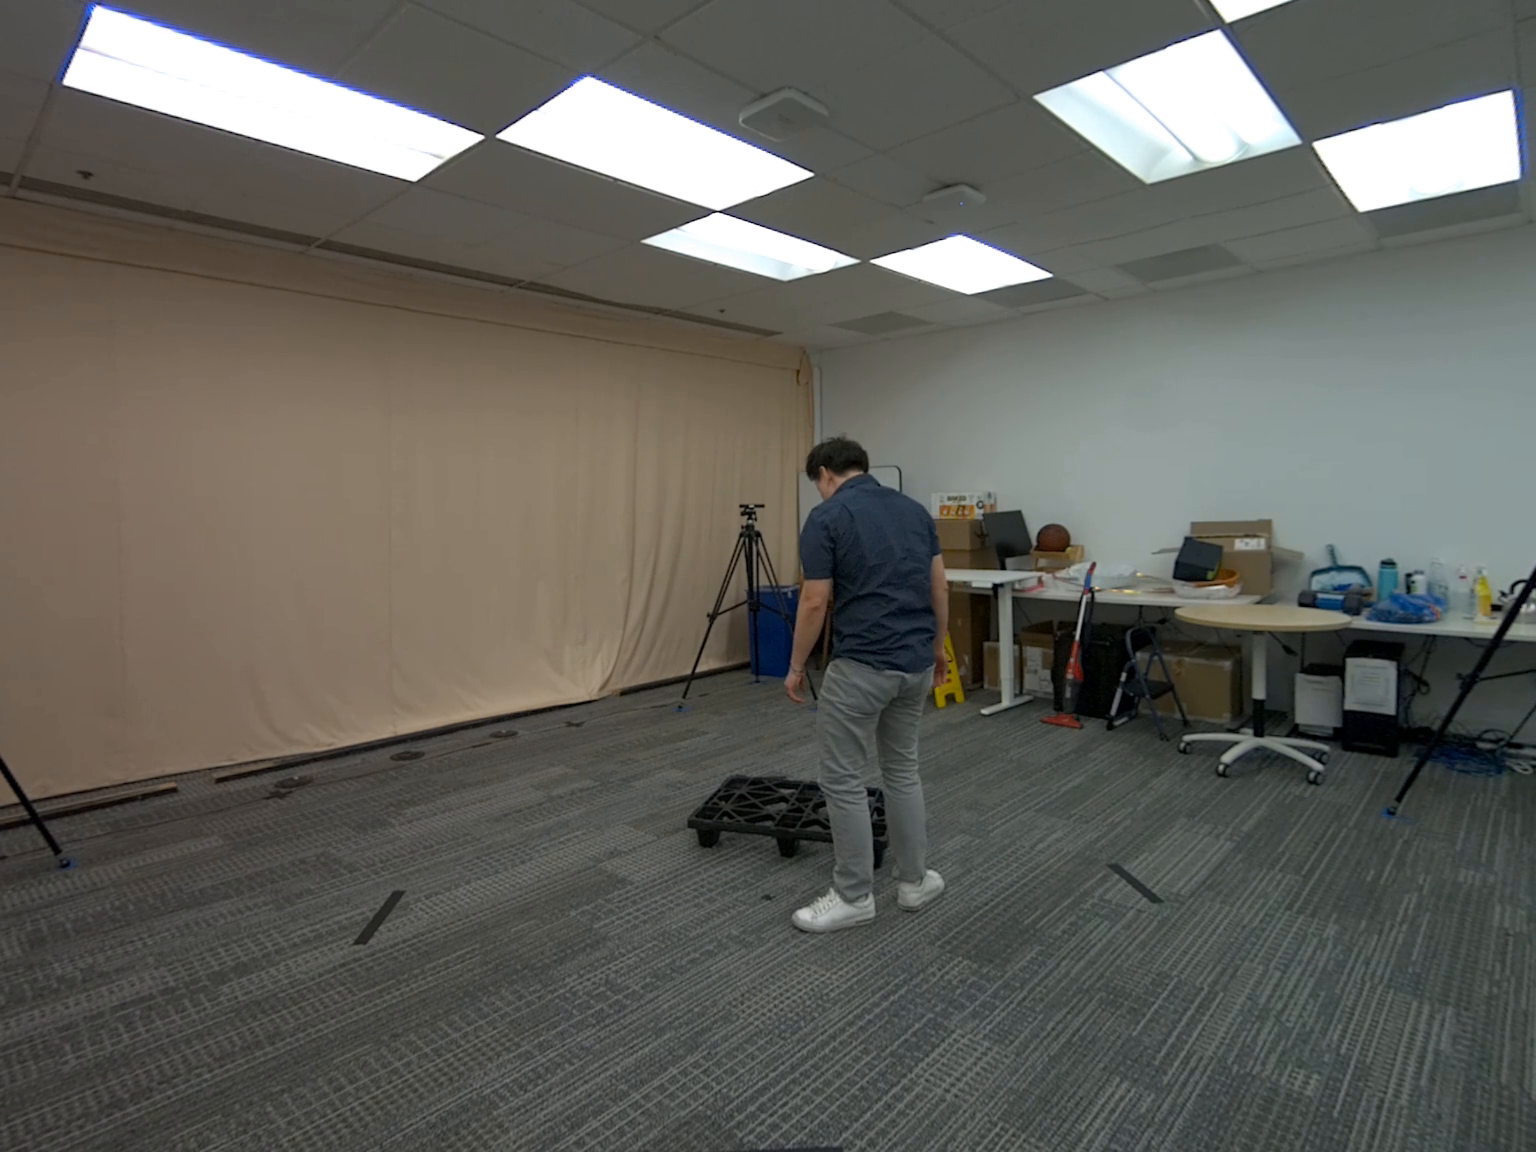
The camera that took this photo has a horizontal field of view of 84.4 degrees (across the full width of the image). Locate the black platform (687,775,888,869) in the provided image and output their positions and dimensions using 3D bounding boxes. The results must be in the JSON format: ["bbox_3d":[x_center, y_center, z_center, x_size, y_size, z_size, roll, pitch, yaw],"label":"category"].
[{"bbox_3d":[0.138,1.020,3.529,0.821,0.143,0.595,0,5,18],"label":"black platform"}]
